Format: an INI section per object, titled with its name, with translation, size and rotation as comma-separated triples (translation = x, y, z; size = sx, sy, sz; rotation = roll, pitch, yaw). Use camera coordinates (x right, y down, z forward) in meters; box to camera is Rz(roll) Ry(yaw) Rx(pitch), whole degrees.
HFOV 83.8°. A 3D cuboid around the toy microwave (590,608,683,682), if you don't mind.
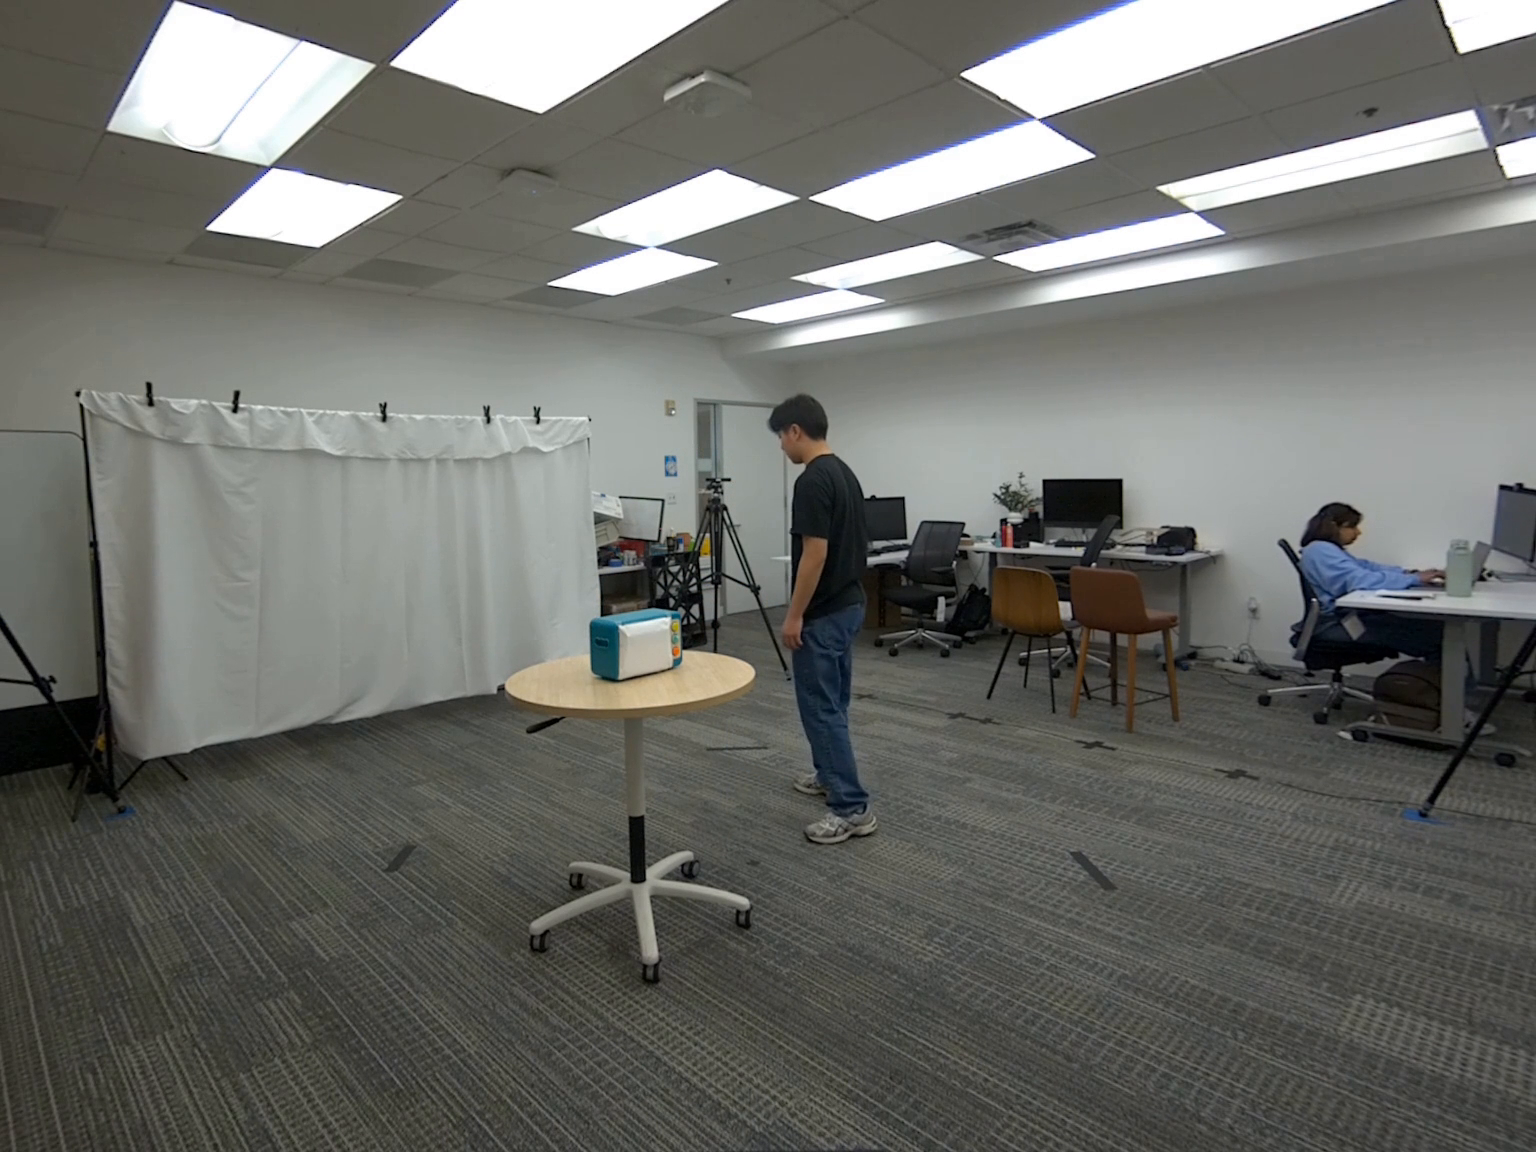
[toy microwave]
translation = -0.402, 0.211, 2.670
size = 0.157, 0.183, 0.279
rotation = 3, 8, 43
